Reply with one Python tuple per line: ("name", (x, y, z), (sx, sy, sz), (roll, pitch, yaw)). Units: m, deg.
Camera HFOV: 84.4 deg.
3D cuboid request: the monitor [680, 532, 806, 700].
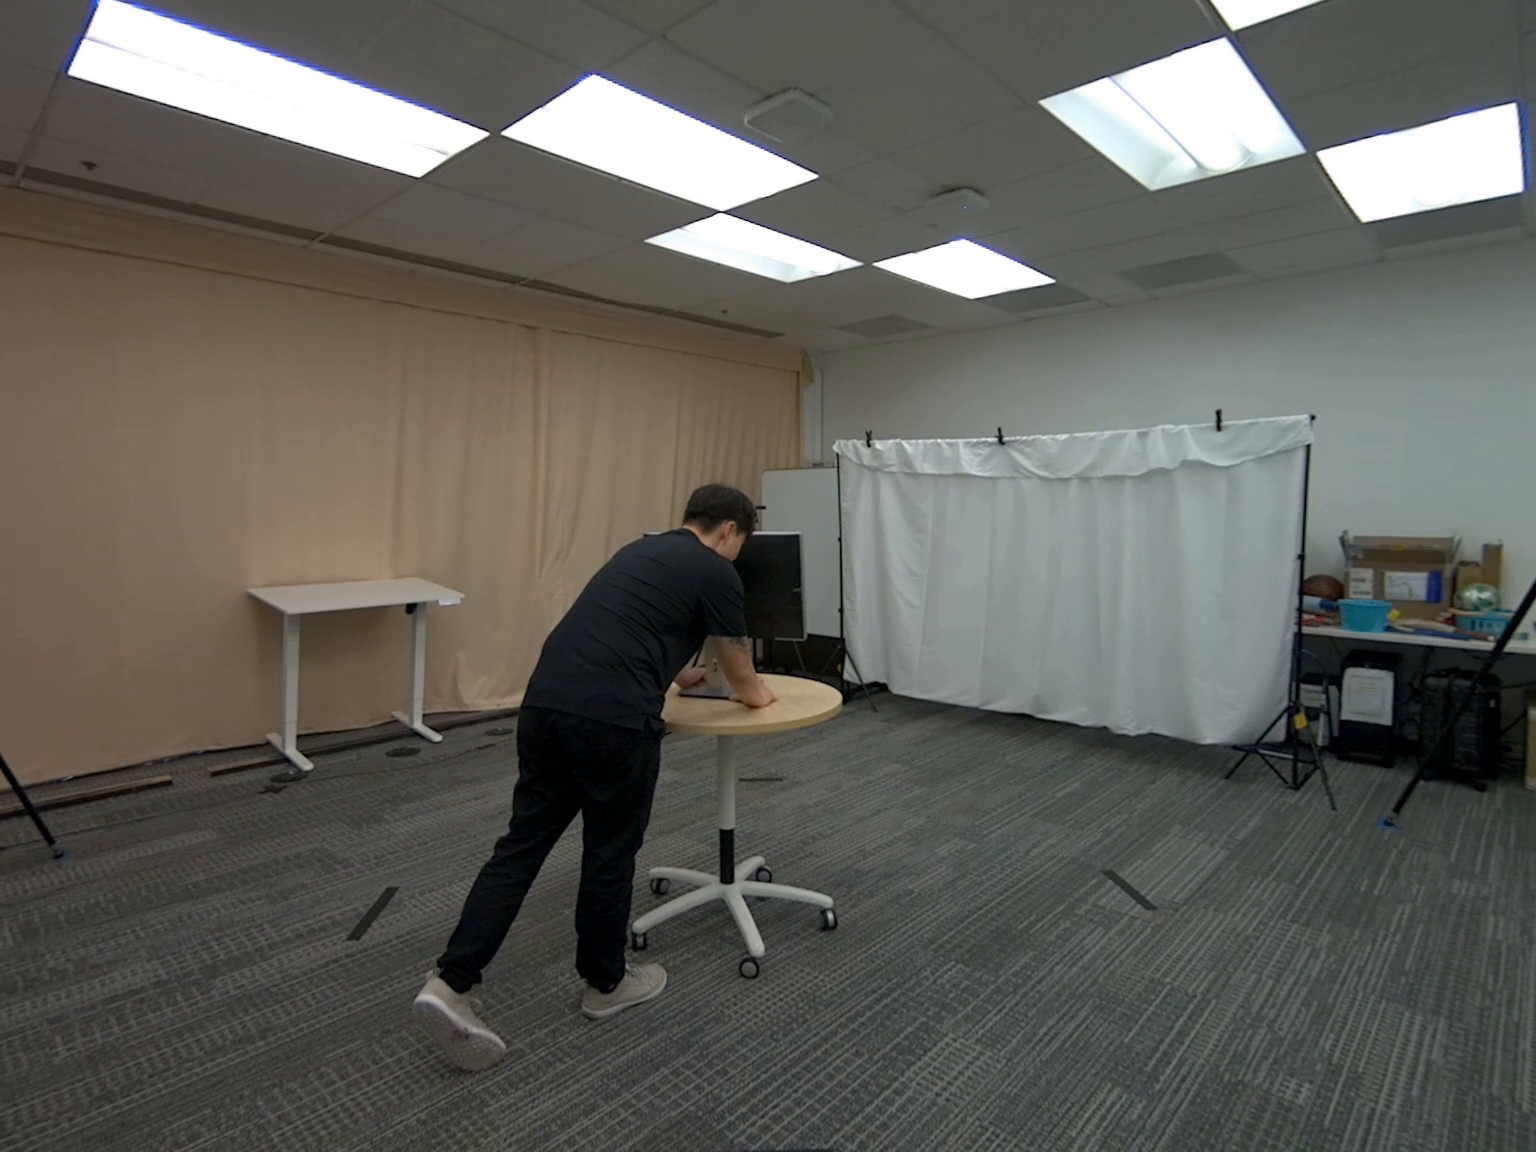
("monitor", (-0.158, 0.126, 2.812), (0.549, 0.522, 0.184), (0, 1, 17))
